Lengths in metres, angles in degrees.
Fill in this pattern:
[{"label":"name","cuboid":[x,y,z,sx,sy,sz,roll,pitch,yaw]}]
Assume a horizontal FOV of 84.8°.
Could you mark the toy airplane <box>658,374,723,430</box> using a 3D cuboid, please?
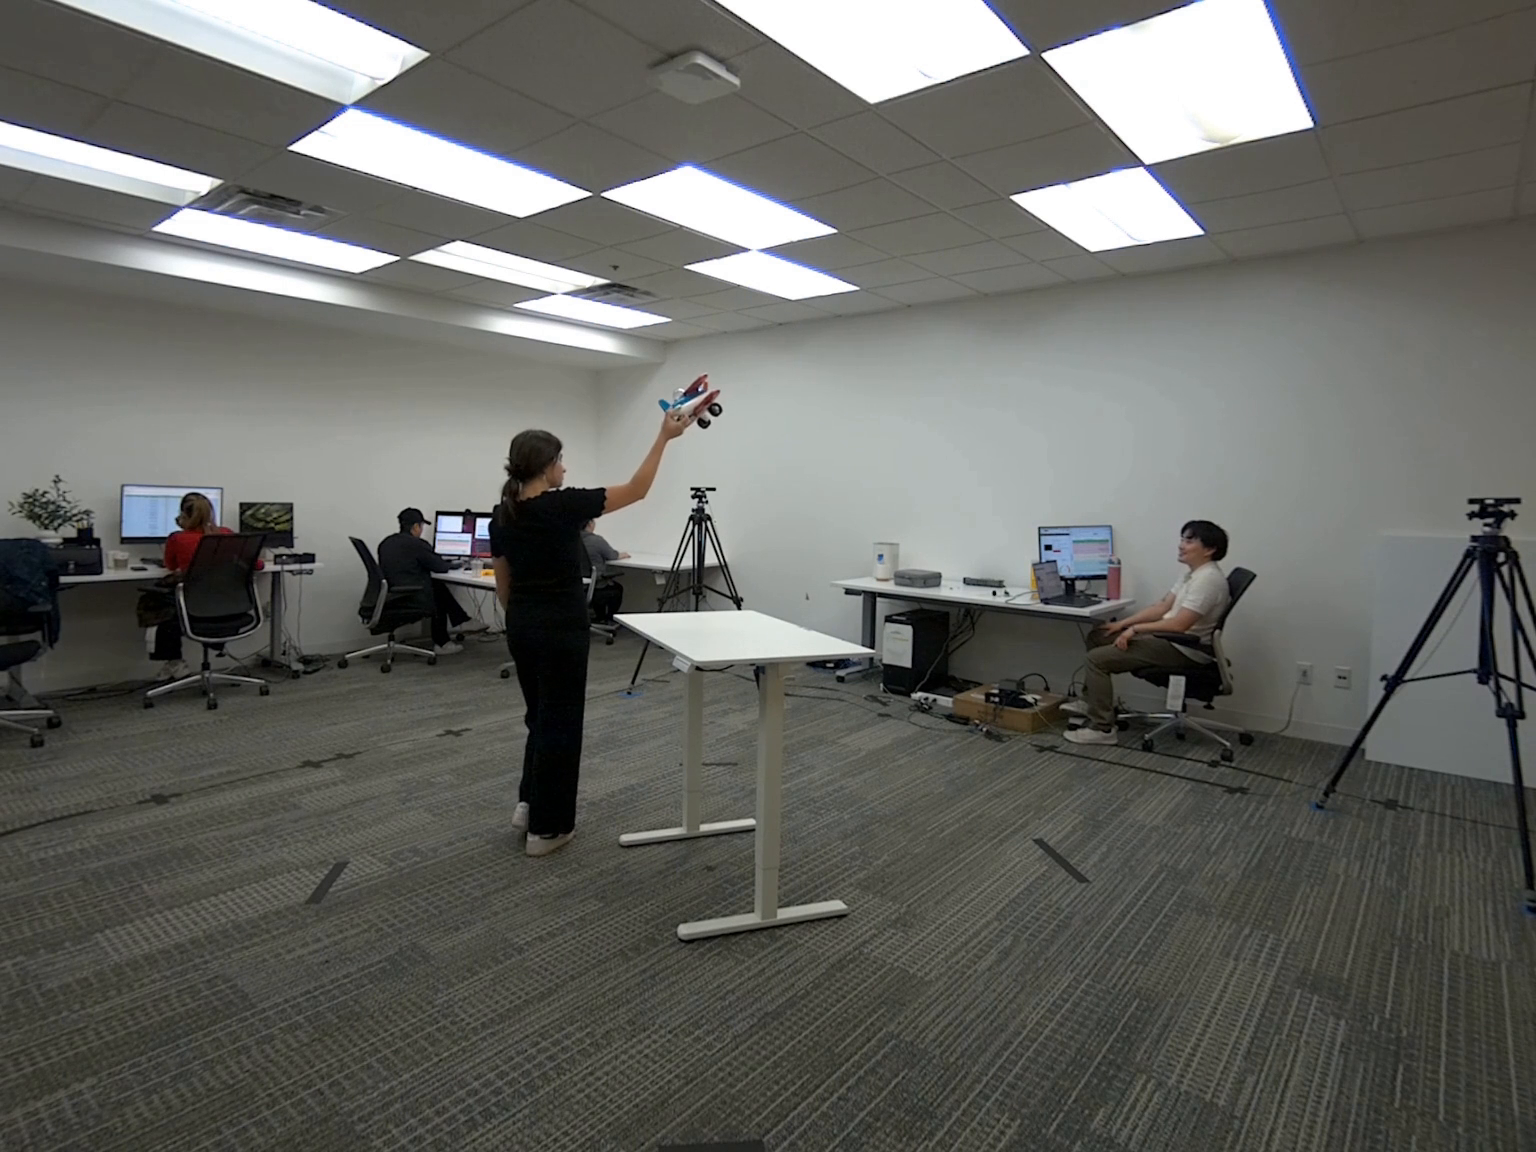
[{"label":"toy airplane","cuboid":[-0.310,-0.671,3.329,0.252,0.159,0.253,-32,-11,16]}]
